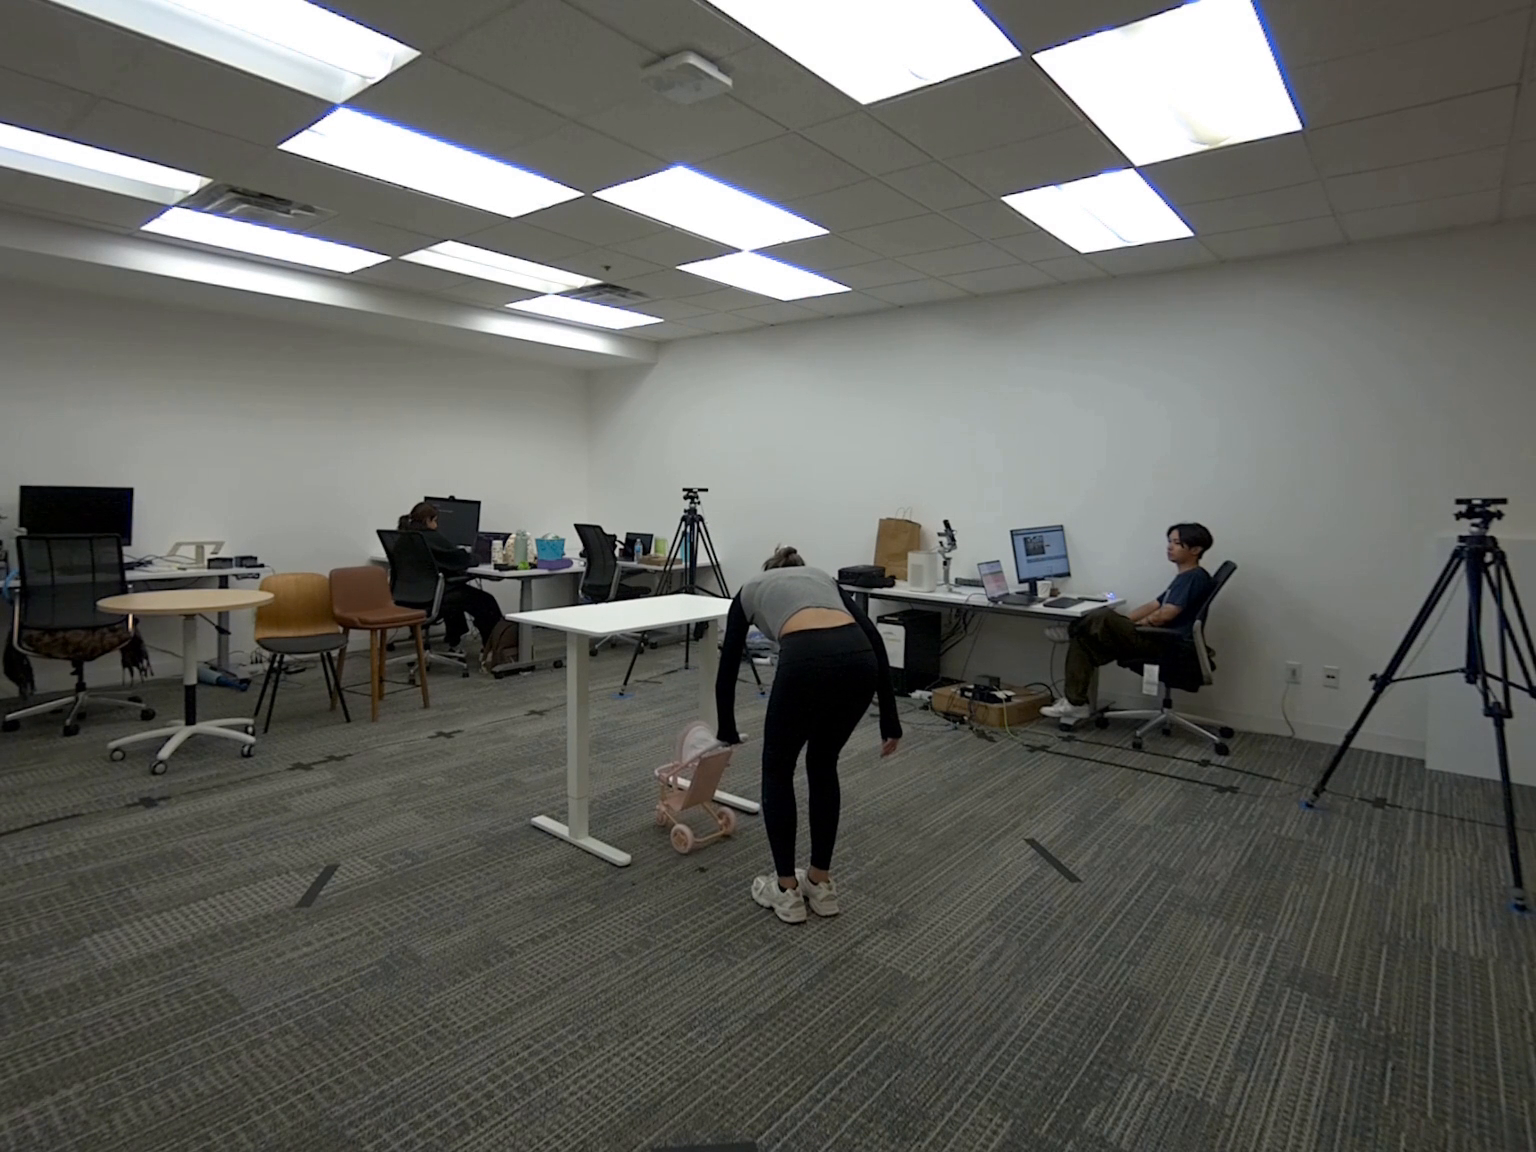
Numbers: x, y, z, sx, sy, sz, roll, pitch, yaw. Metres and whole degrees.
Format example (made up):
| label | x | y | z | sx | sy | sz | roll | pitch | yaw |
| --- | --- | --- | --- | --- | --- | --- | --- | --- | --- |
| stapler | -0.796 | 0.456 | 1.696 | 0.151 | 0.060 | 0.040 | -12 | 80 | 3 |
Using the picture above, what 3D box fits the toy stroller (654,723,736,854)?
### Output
| label | x | y | z | sx | sy | sz | roll | pitch | yaw |
| --- | --- | --- | --- | --- | --- | --- | --- | --- | --- |
| toy stroller | -0.305 | 0.812 | 3.376 | 0.273 | 0.530 | 0.355 | -1 | 17 | -44 |
